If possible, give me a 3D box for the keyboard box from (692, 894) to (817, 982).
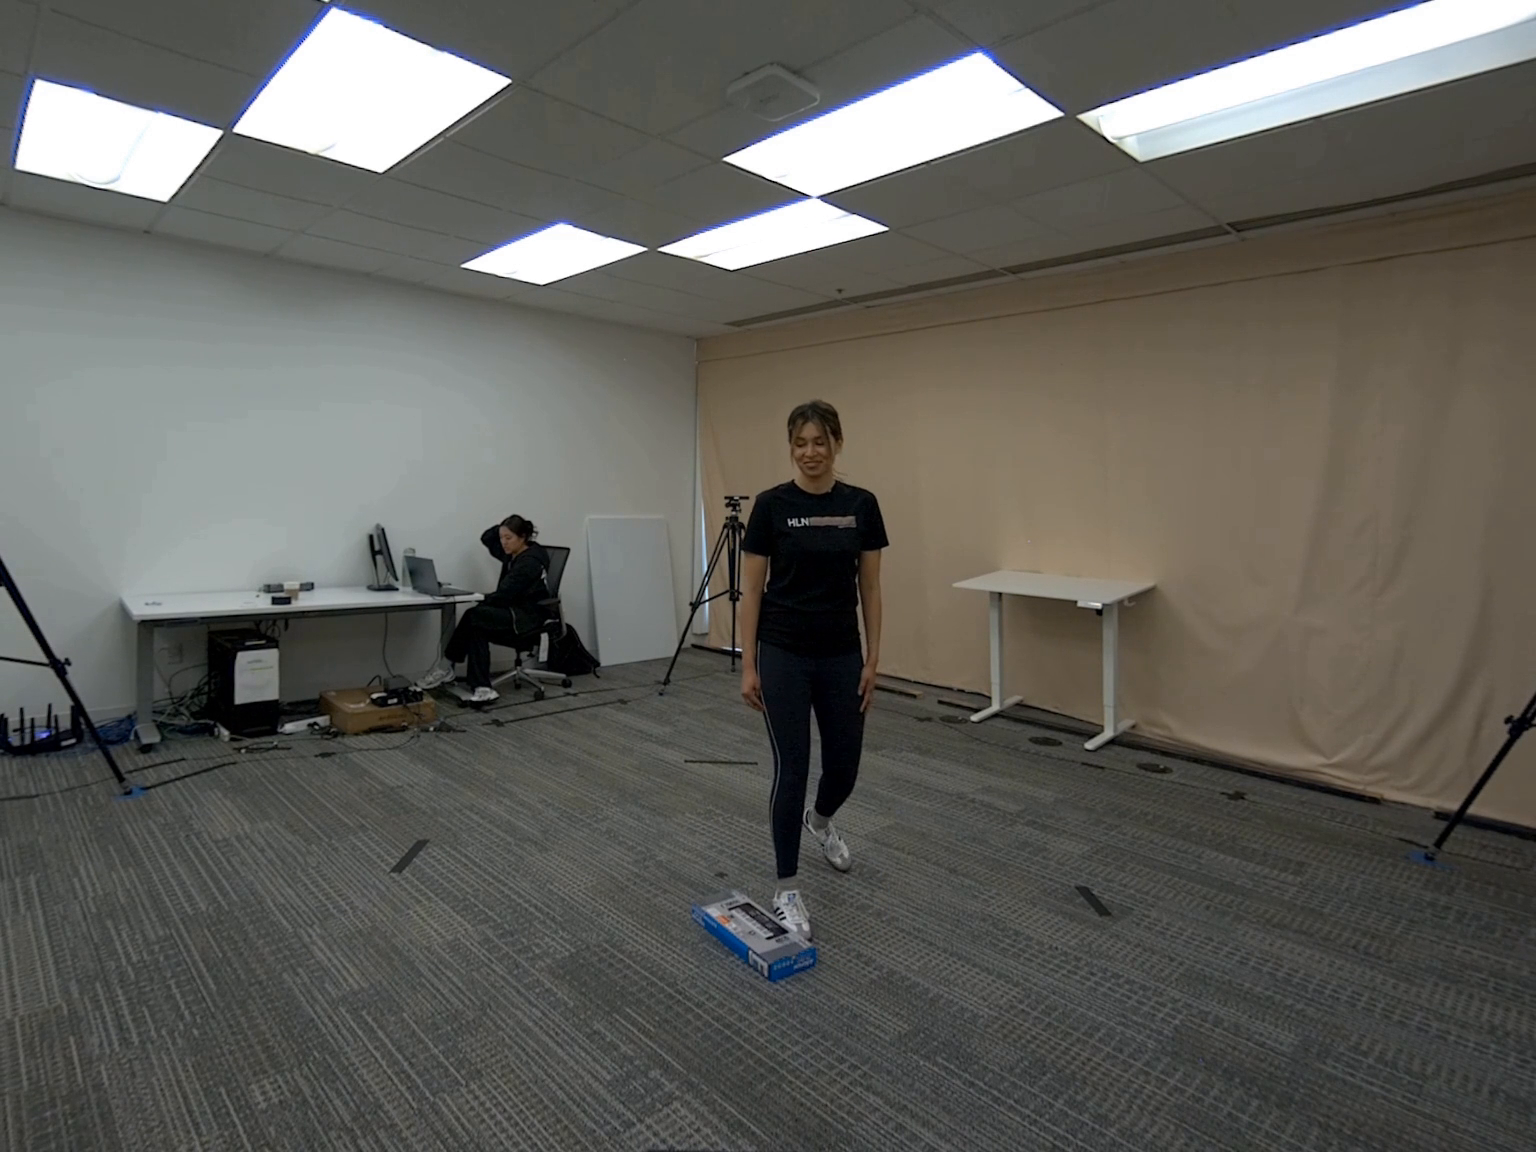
[{"bbox_3d":[-0.059,1.118,2.639,0.172,0.059,0.448,-3,7,-35],"label":"keyboard box"}]
